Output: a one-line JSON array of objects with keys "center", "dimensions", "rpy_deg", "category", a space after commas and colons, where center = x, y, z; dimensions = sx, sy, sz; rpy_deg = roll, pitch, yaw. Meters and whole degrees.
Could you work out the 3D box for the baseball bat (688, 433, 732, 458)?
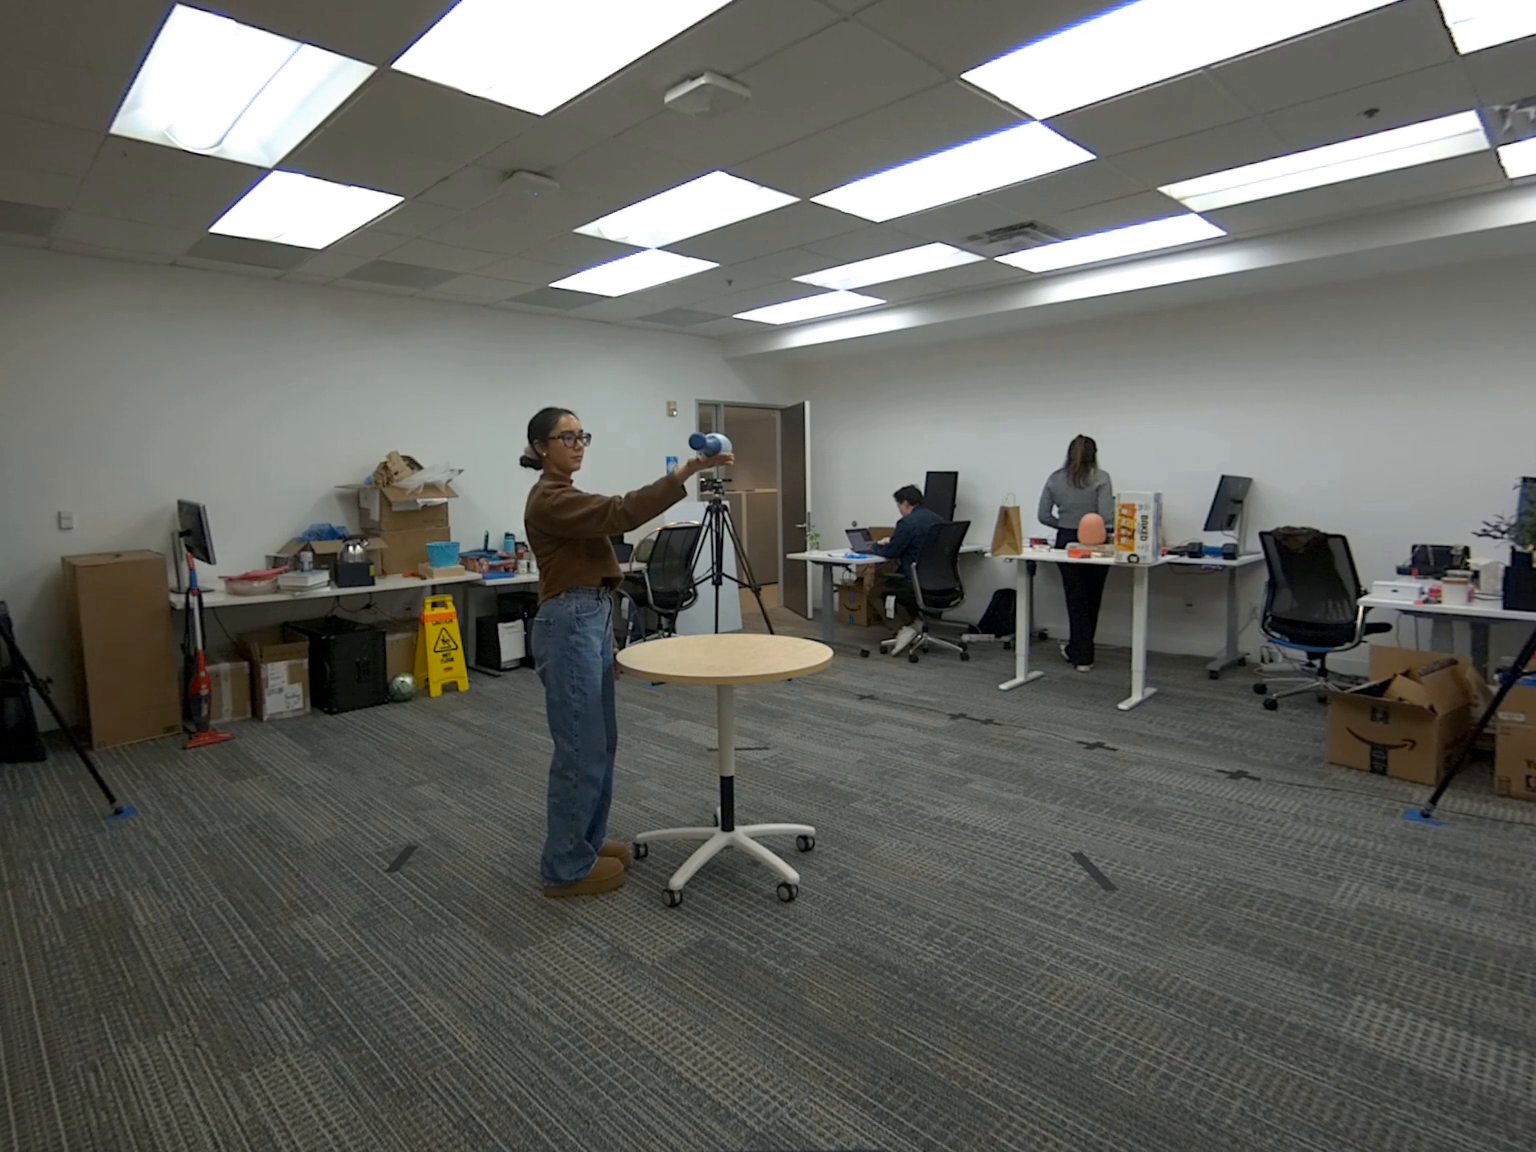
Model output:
[{"center": [-0.169, -0.394, 2.593], "dimensions": [0.089, 0.088, 0.543], "rpy_deg": [-1, 7, 3], "category": "baseball bat"}]
